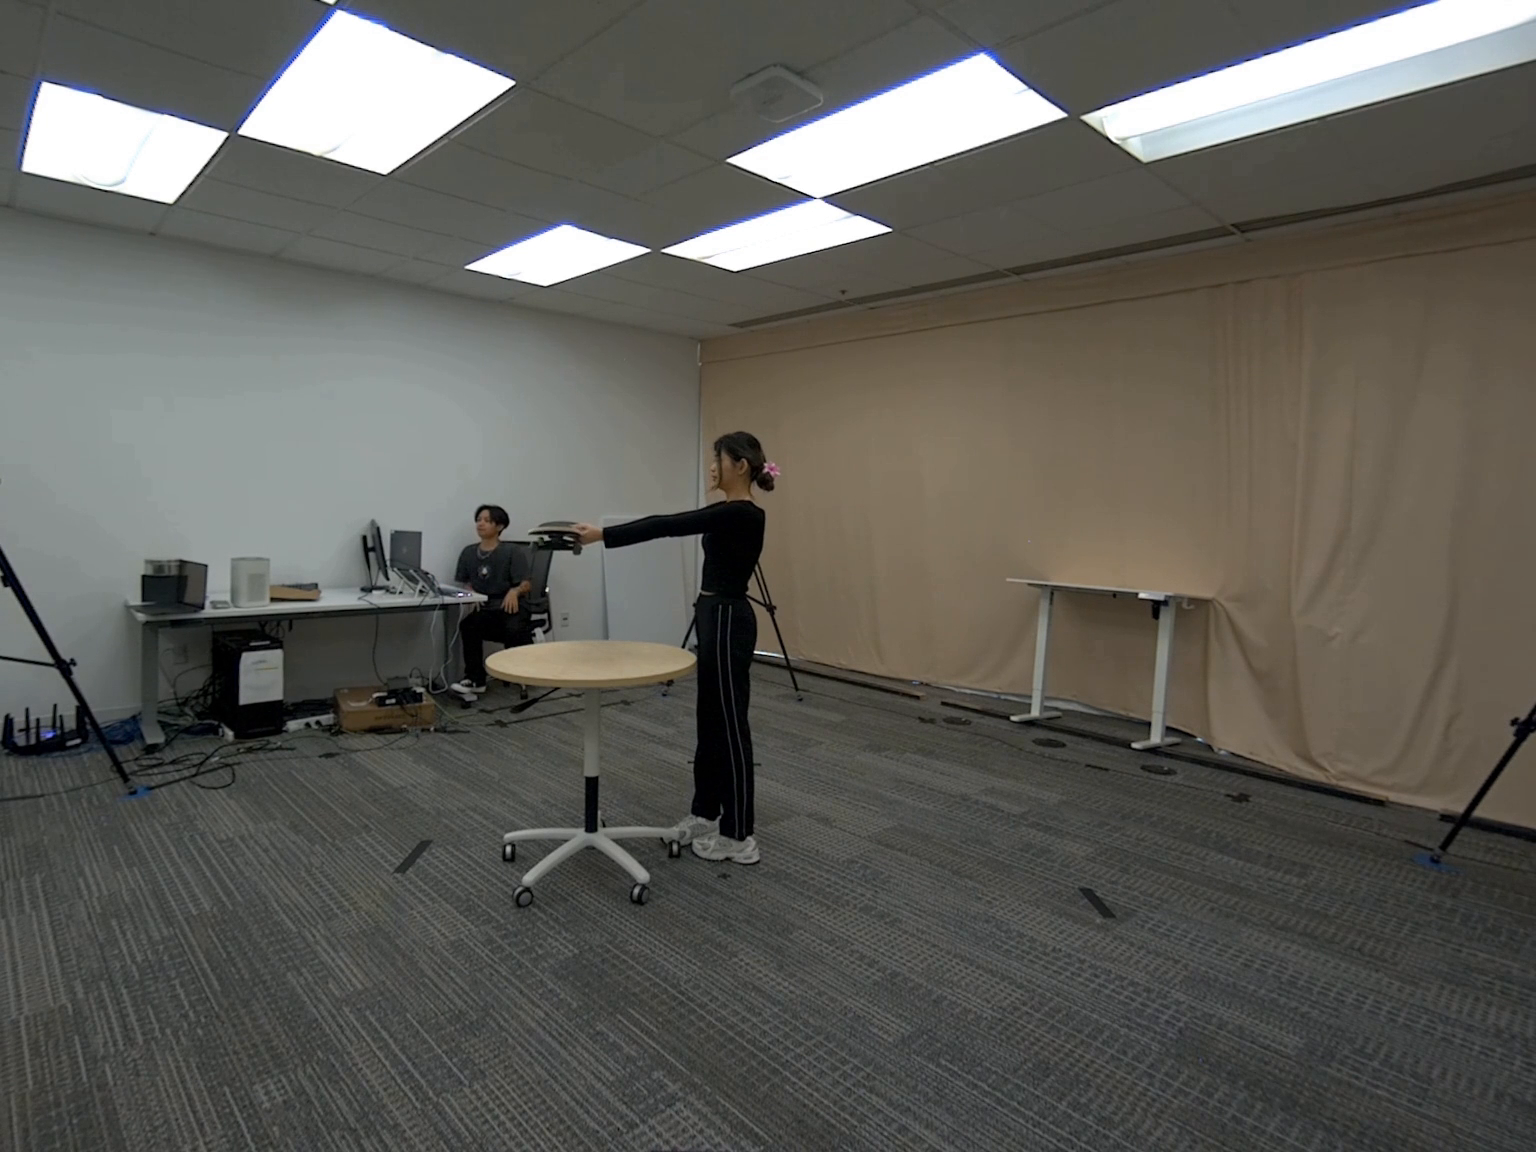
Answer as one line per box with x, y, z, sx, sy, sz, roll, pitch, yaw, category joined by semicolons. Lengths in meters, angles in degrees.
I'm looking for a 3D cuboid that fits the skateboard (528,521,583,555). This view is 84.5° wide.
-0.823;-0.146;3.263;0.191;0.110;0.797;-1;5;-16;skateboard
